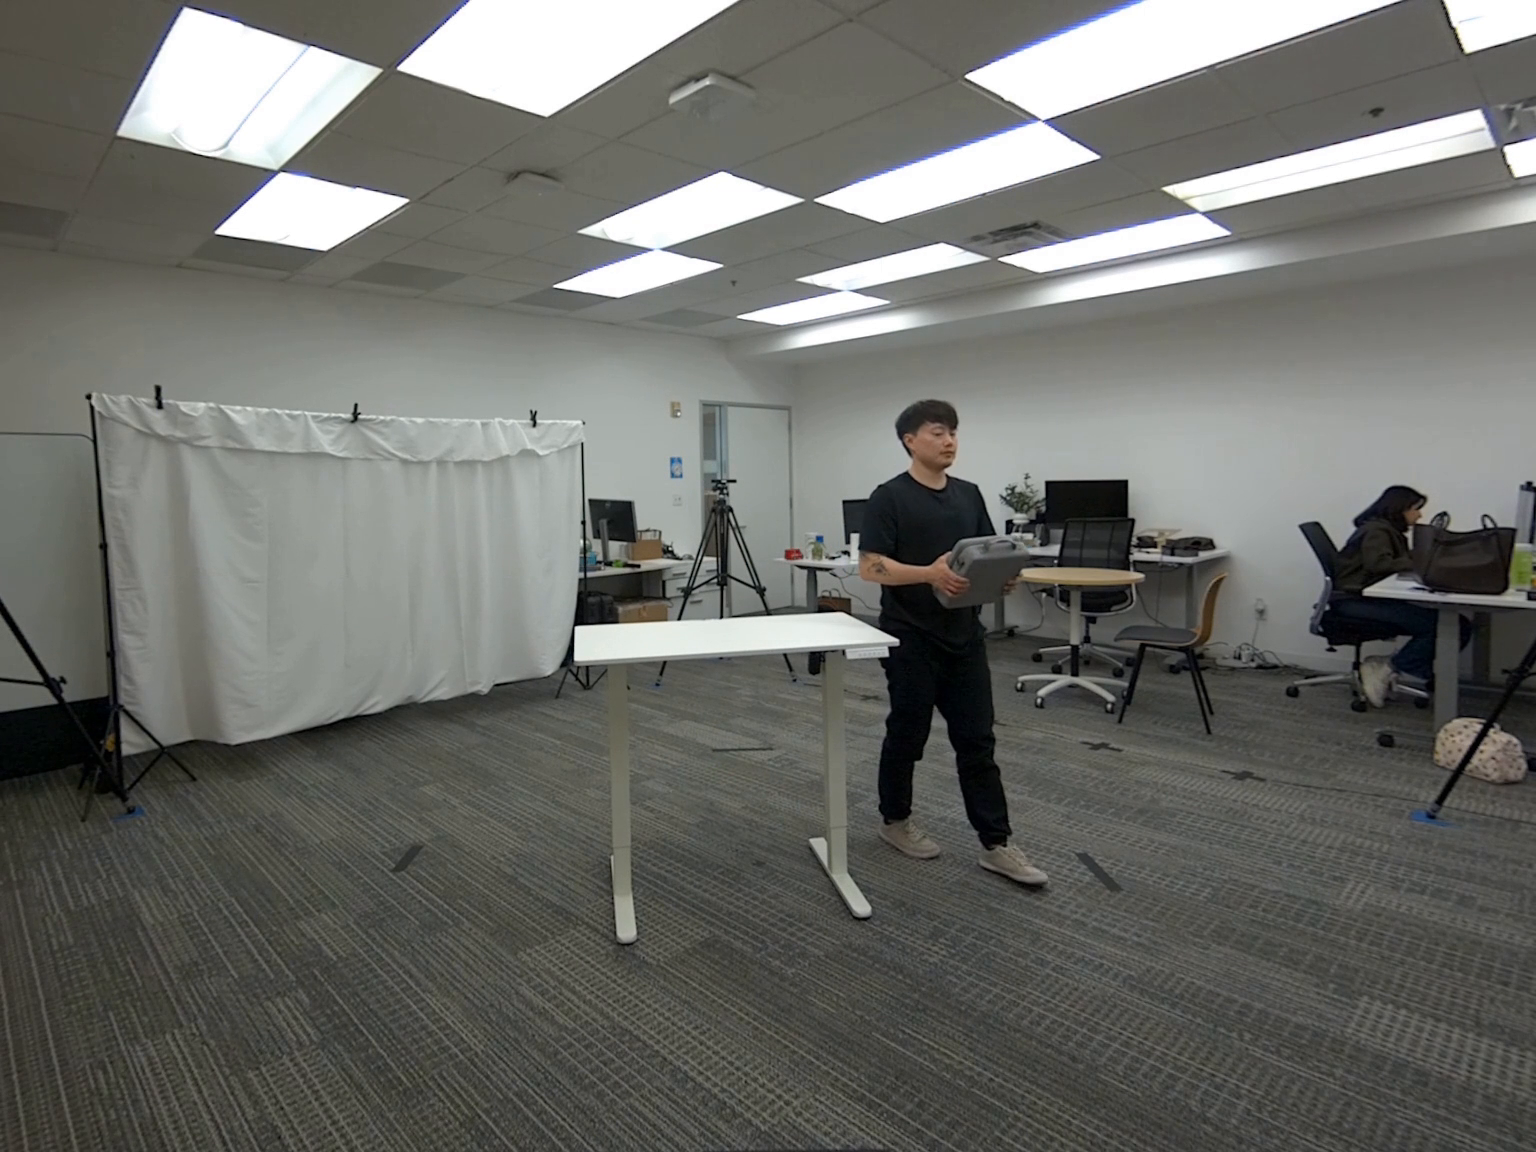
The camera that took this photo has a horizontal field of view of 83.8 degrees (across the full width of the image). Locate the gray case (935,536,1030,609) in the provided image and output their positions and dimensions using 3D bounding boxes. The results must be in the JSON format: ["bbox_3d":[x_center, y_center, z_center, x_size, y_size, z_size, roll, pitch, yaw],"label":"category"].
[{"bbox_3d":[0.700,-0.020,2.825,0.252,0.256,0.108,-5,49,-25],"label":"gray case"}]
